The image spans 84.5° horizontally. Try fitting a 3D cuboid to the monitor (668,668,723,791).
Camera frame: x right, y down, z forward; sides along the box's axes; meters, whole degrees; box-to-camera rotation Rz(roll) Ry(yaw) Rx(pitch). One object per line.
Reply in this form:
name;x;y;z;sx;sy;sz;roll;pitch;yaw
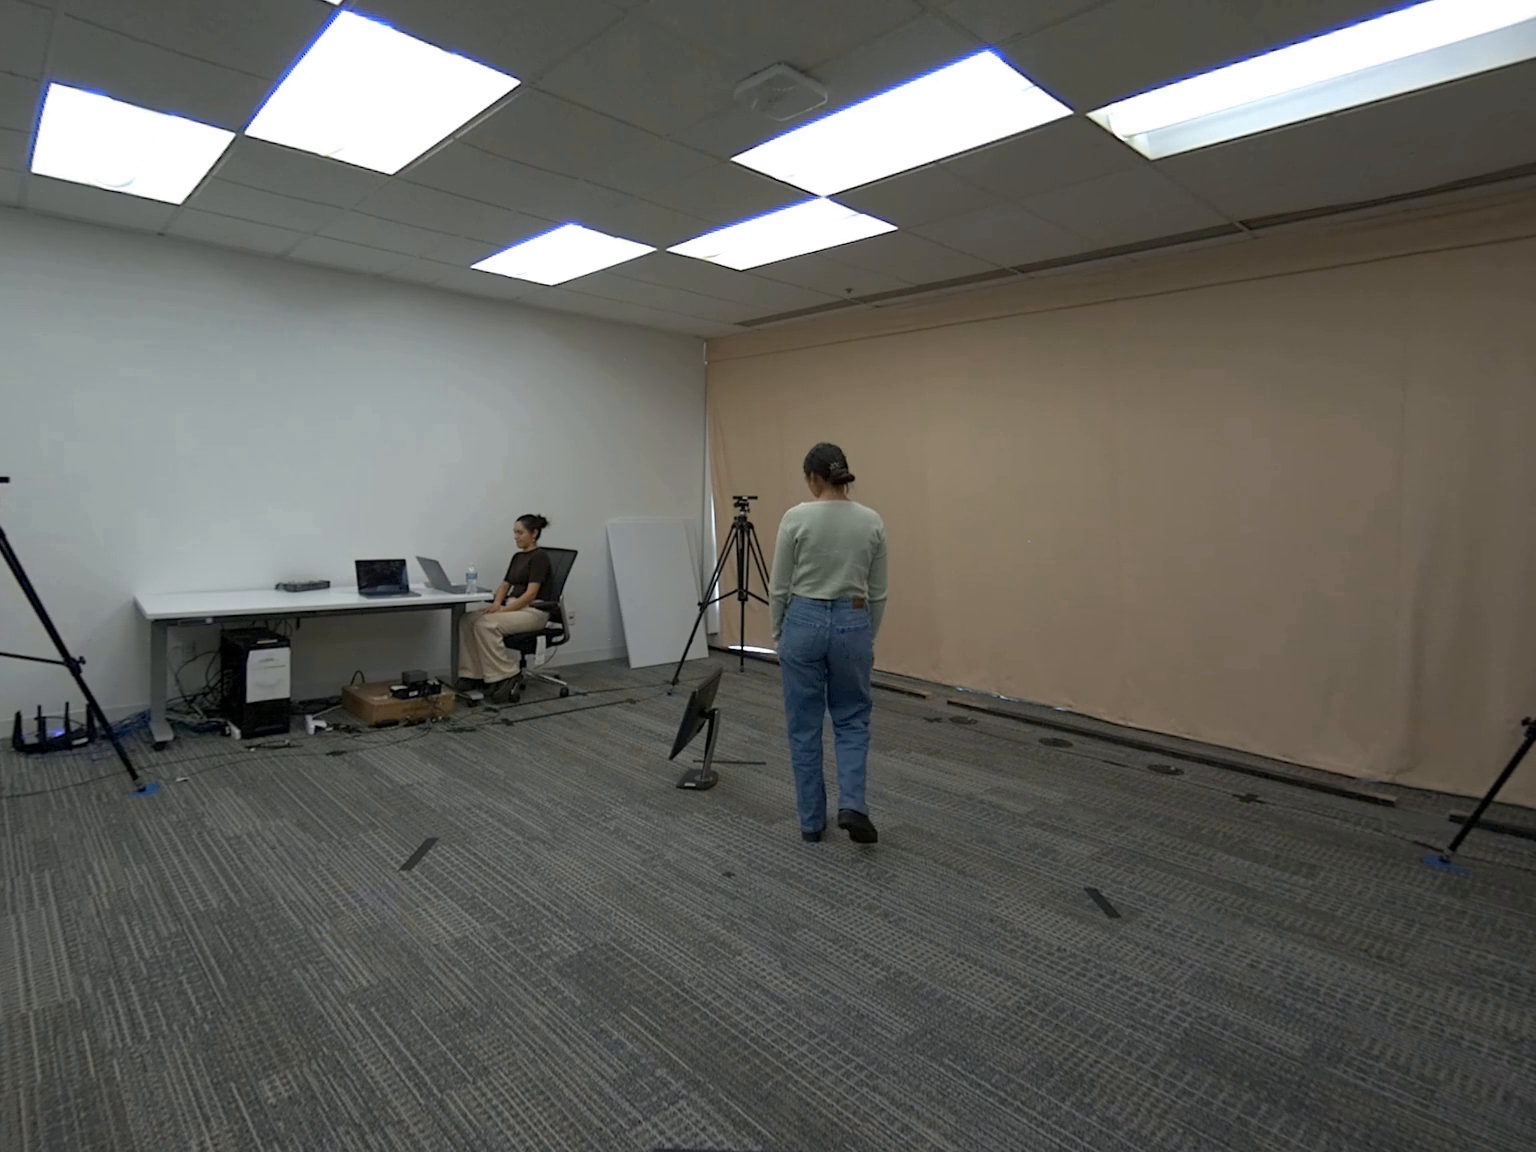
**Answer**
monitor;-0.336;0.744;4.137;0.176;0.514;0.527;2;5;9
